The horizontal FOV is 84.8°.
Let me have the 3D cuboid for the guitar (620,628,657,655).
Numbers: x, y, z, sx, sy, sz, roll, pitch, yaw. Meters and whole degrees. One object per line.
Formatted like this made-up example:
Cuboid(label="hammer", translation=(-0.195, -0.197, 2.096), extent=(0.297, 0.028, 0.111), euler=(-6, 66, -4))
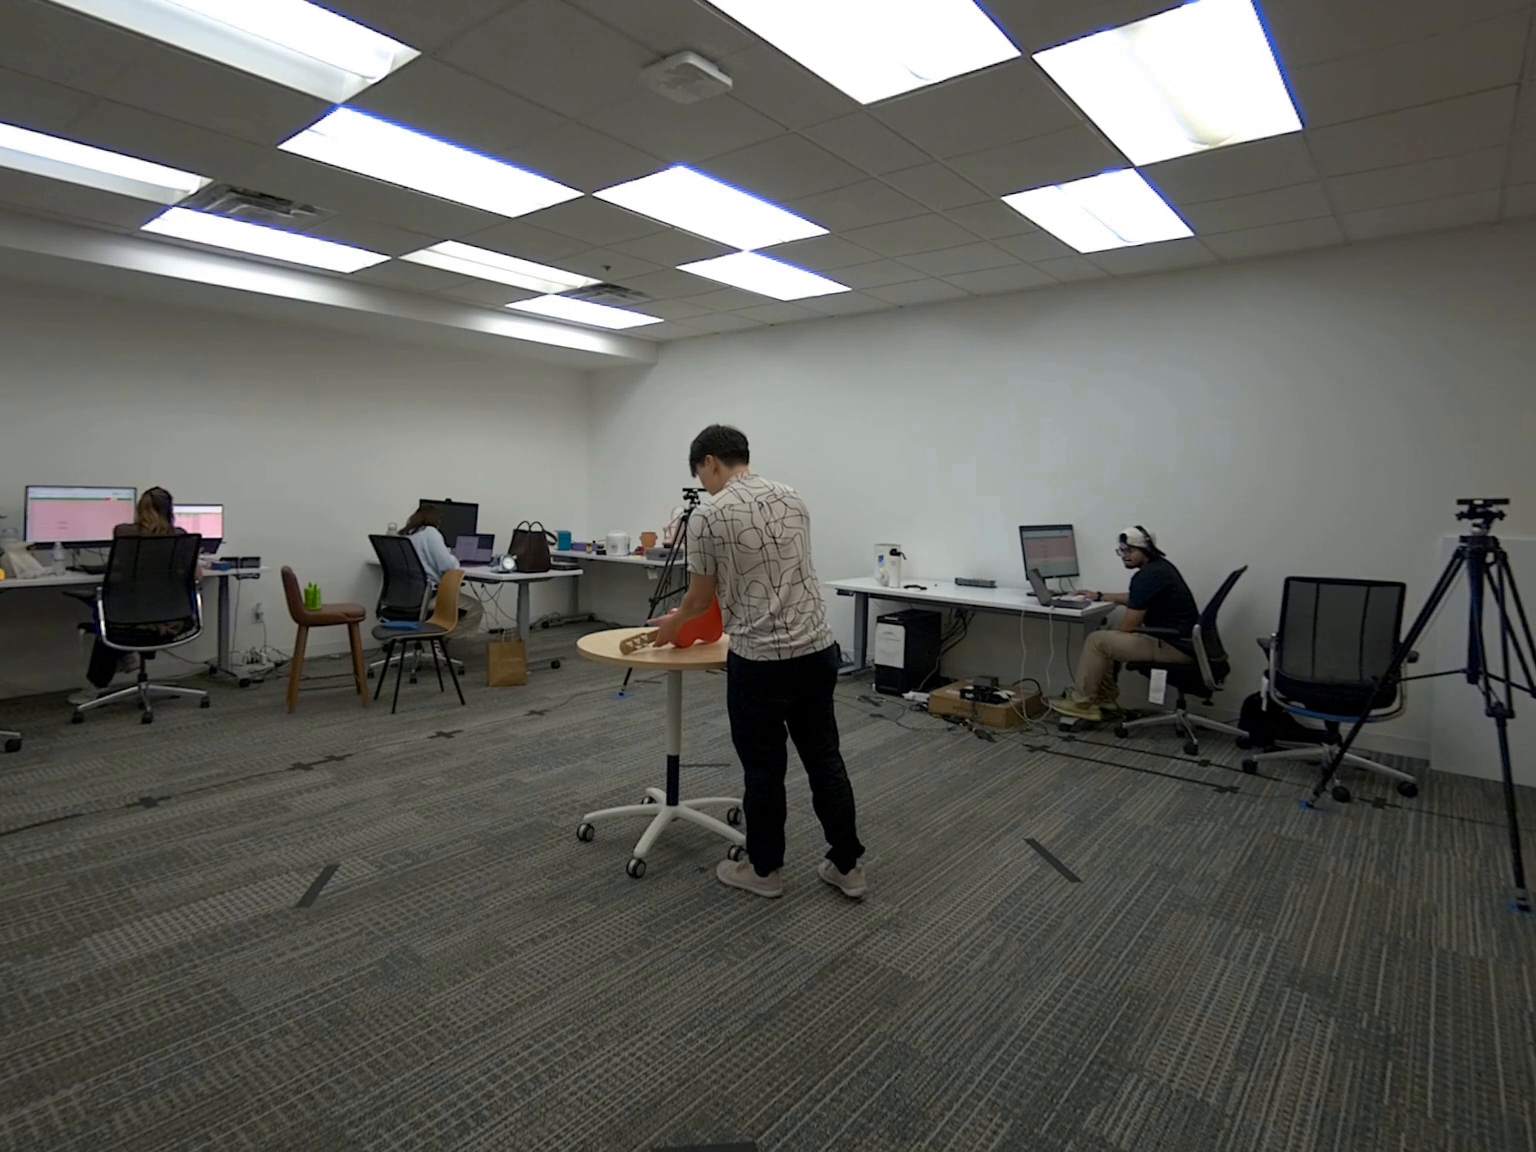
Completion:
Cuboid(label="guitar", translation=(-0.356, 0.229, 3.238), extent=(0.073, 0.189, 0.491), euler=(5, 25, 40))
